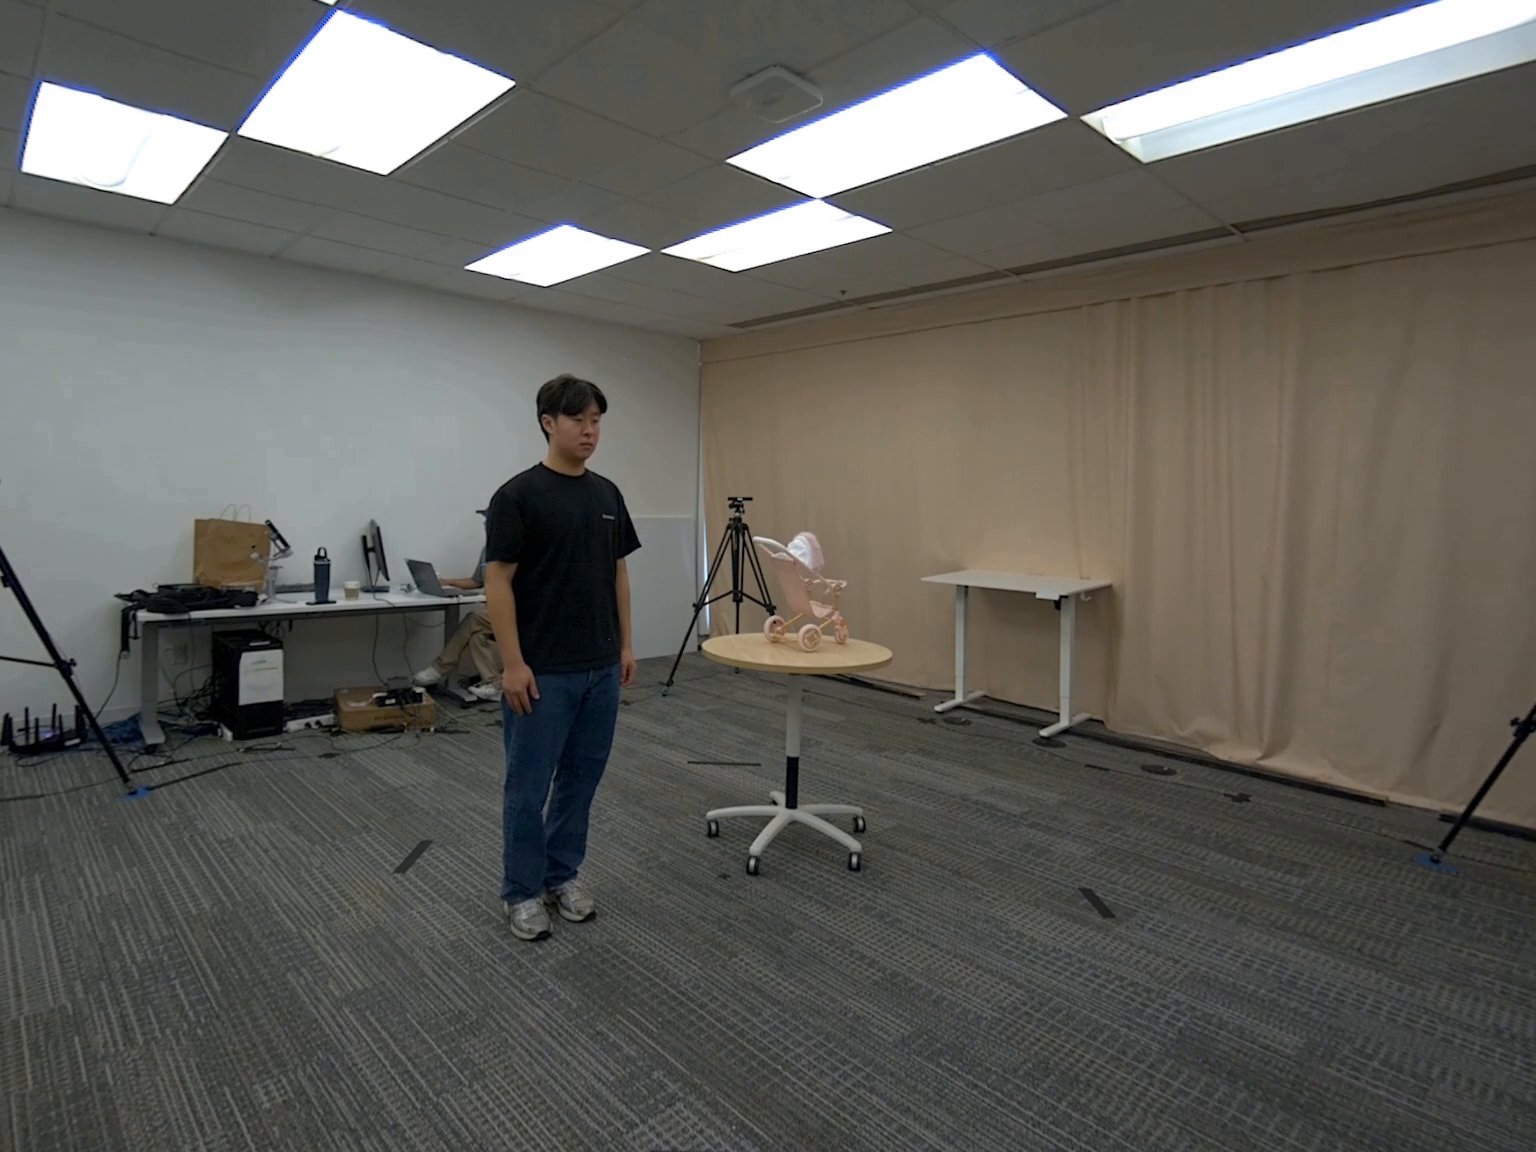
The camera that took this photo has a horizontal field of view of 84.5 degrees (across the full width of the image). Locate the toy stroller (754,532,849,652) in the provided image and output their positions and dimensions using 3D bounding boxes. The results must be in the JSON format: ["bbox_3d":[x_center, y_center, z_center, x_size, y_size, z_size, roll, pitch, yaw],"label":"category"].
[{"bbox_3d":[0.156,0.064,3.442,0.337,0.530,0.287,-16,11,-25],"label":"toy stroller"}]
